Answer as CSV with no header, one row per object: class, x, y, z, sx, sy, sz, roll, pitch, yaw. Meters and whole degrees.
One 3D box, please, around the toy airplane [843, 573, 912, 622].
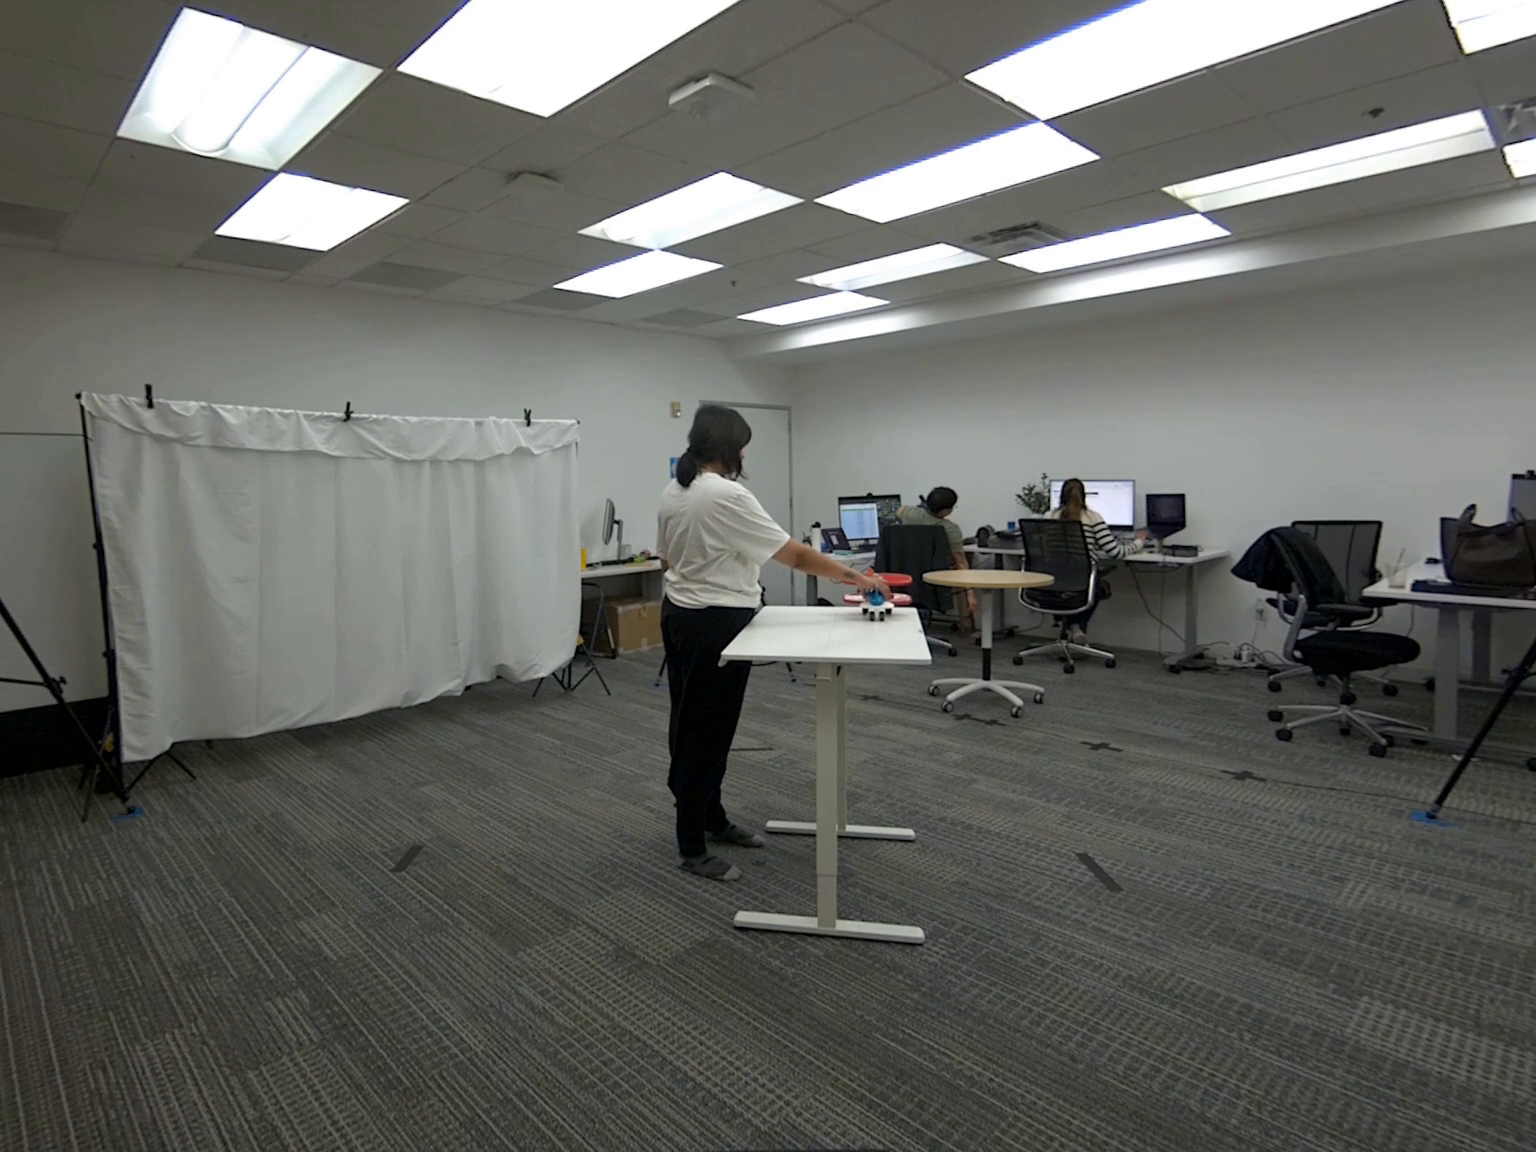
toy airplane,0.424,0.075,3.156,0.247,0.156,0.264,-2,5,-17
